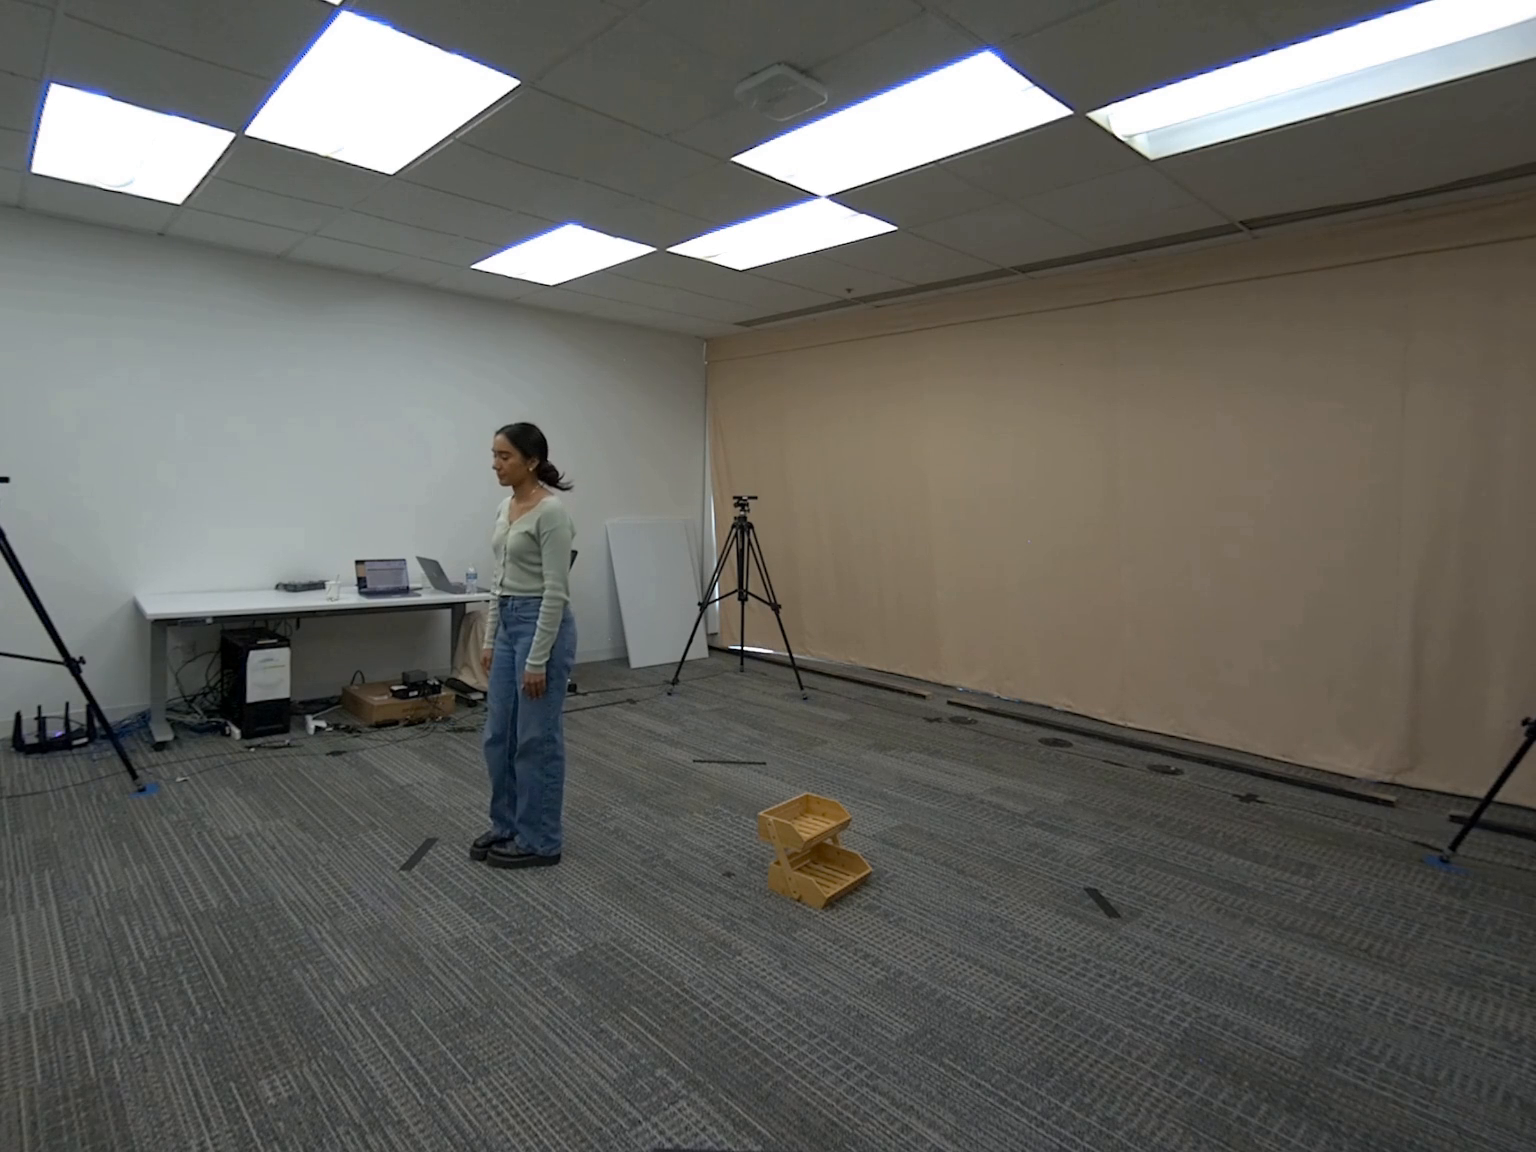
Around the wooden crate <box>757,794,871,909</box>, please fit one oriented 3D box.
[{"bbox_3d":[0.163,0.979,3.042,0.309,0.273,0.317,4,5,39],"label":"wooden crate"}]
